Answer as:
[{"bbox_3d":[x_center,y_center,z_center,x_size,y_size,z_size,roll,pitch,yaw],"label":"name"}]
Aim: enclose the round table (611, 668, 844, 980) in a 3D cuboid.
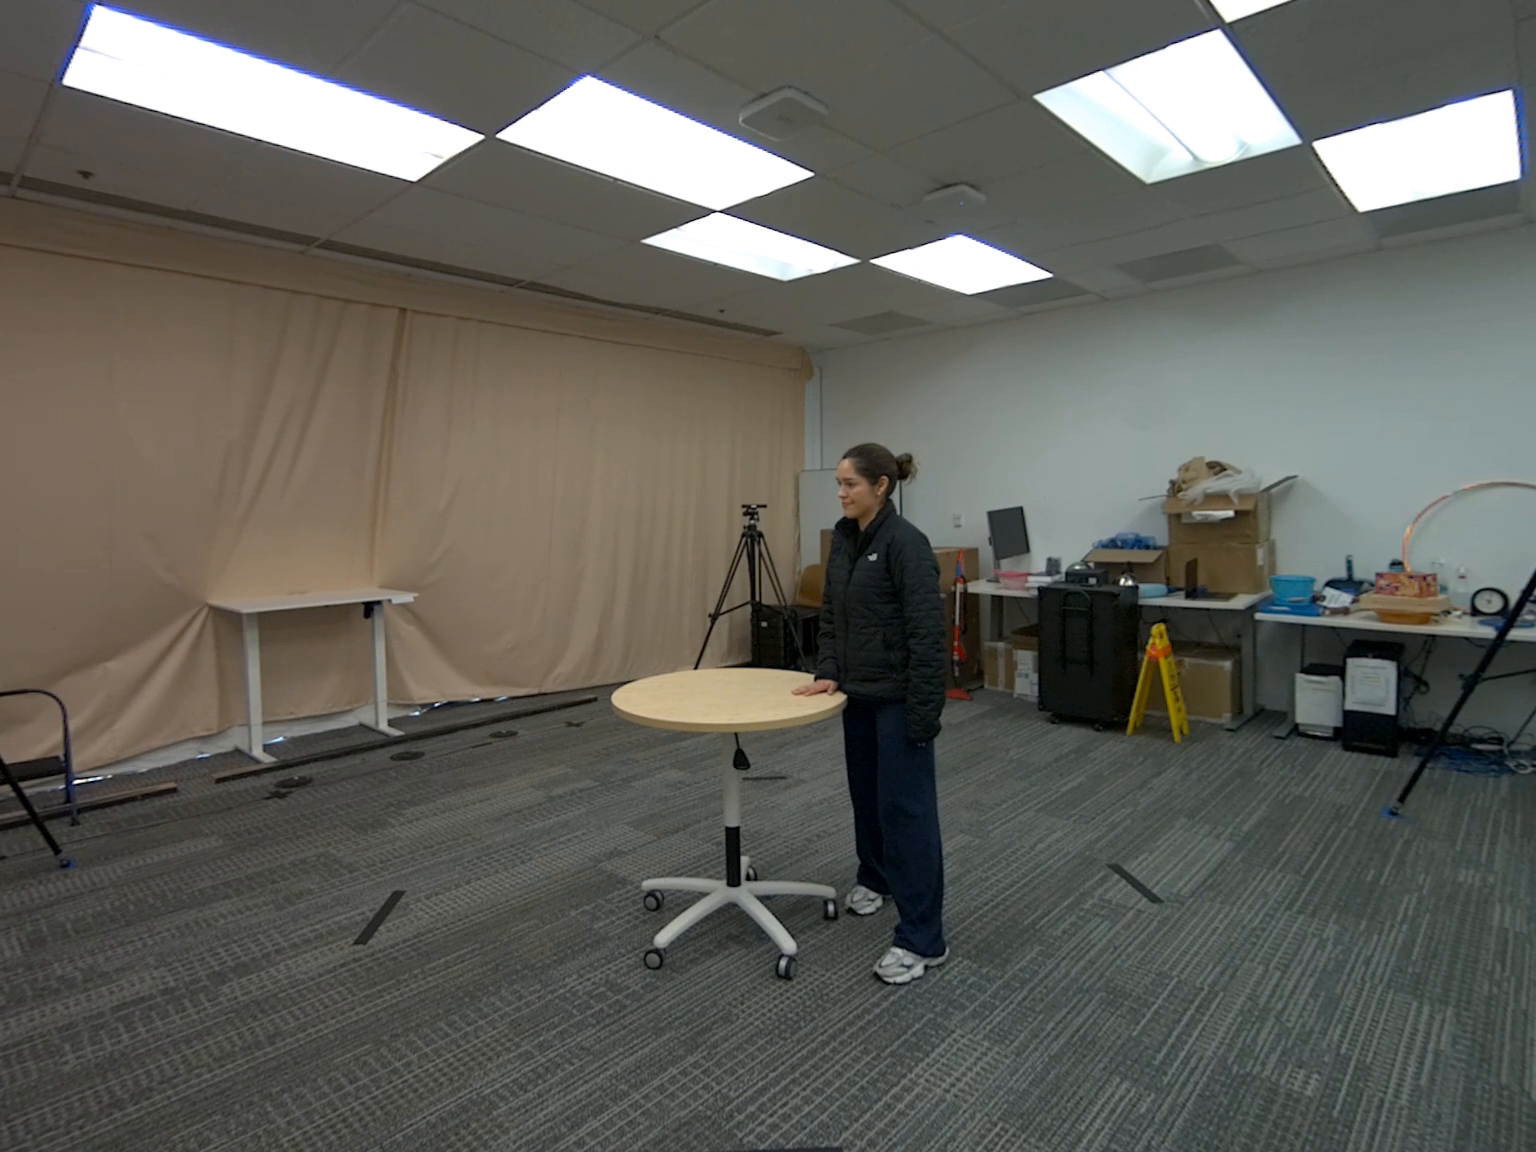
[{"bbox_3d":[-0.115,0.770,2.781,0.784,0.784,0.788,-1,4,-2],"label":"round table"}]
